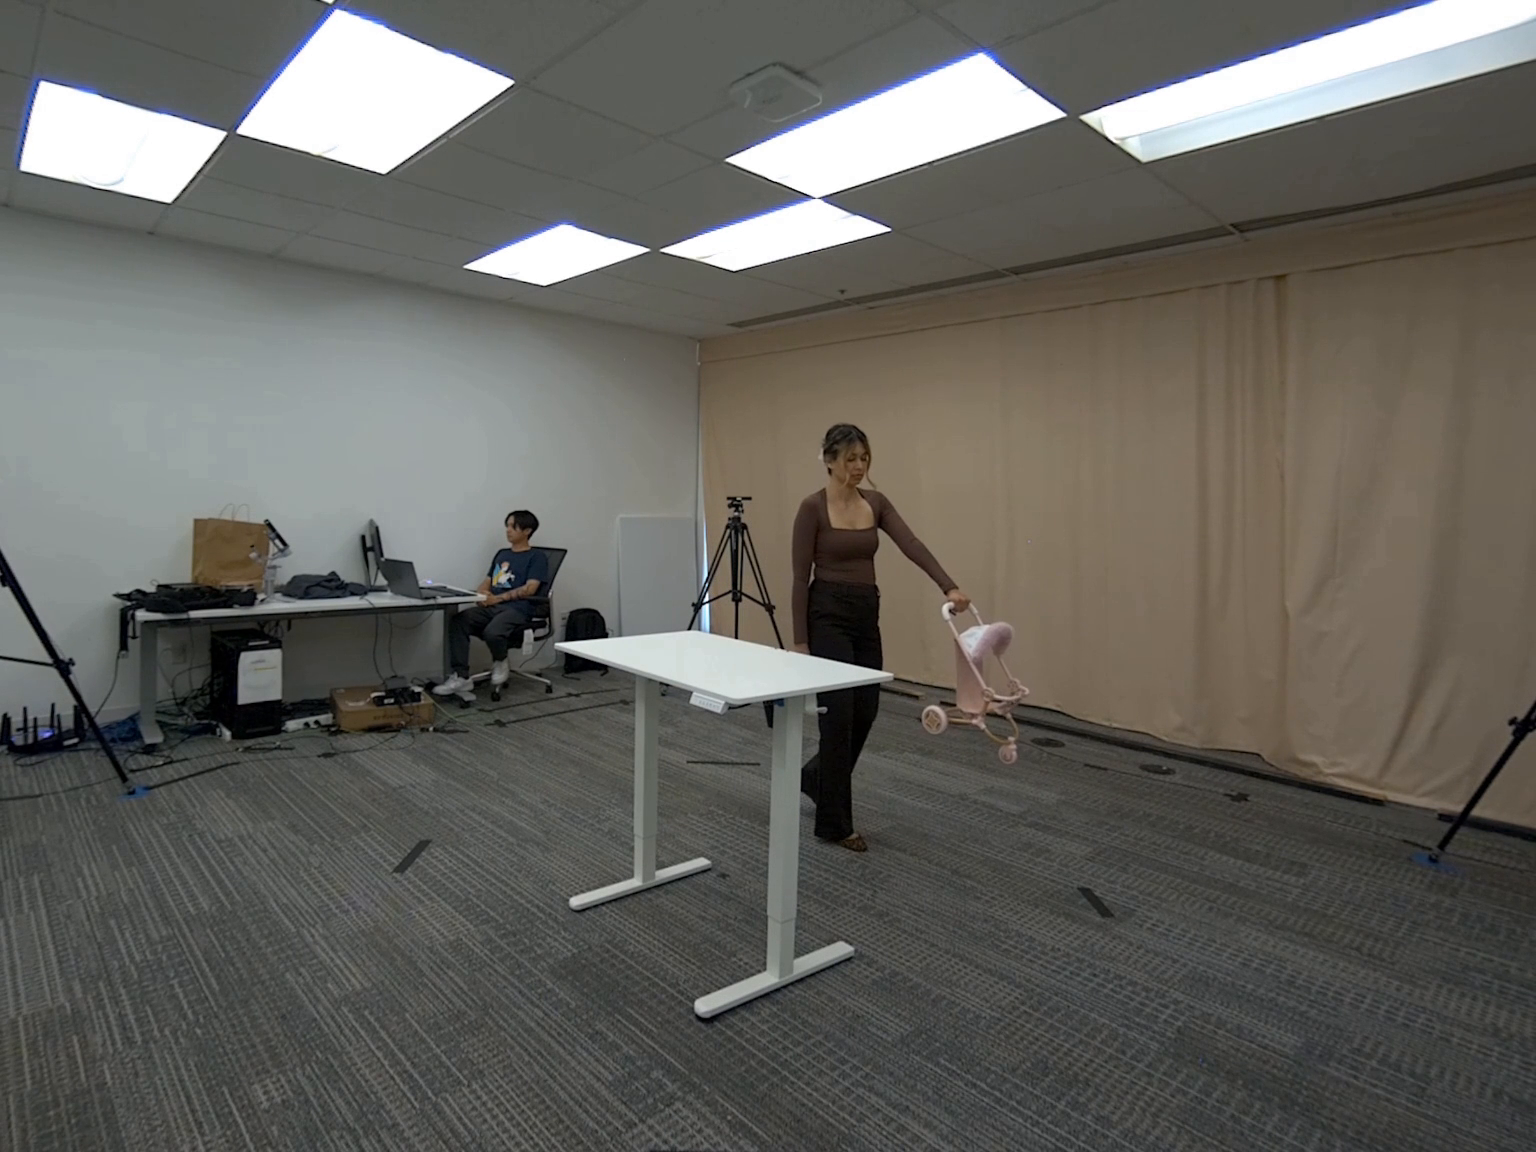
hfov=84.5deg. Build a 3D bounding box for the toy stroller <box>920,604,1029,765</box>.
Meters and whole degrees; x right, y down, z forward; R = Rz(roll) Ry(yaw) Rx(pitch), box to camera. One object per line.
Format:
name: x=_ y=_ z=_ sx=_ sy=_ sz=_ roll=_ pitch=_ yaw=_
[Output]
toy stroller: x=0.779 y=0.393 z=3.091 sx=0.275 sy=0.532 sz=0.351 roll=-2 pitch=11 yaw=-41
